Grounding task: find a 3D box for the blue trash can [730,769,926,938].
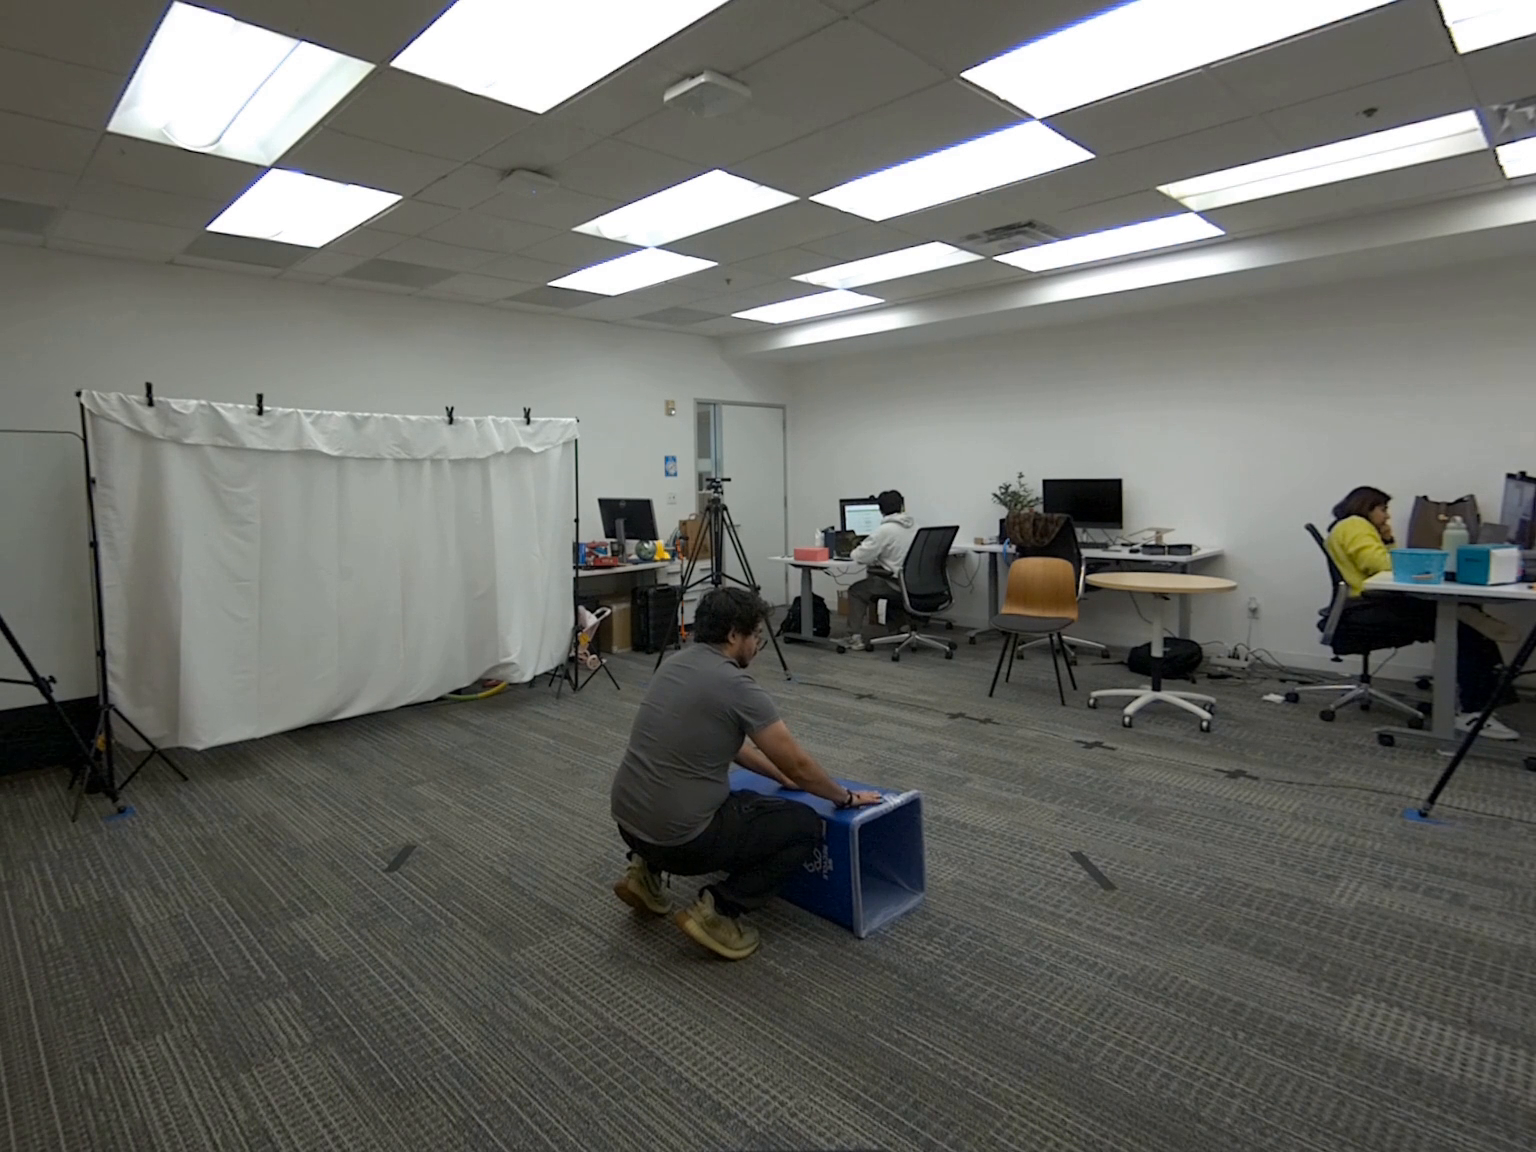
[{"bbox_3d":[0.140,0.890,2.951,0.364,0.377,0.735,-6,5,-44],"label":"blue trash can"}]
